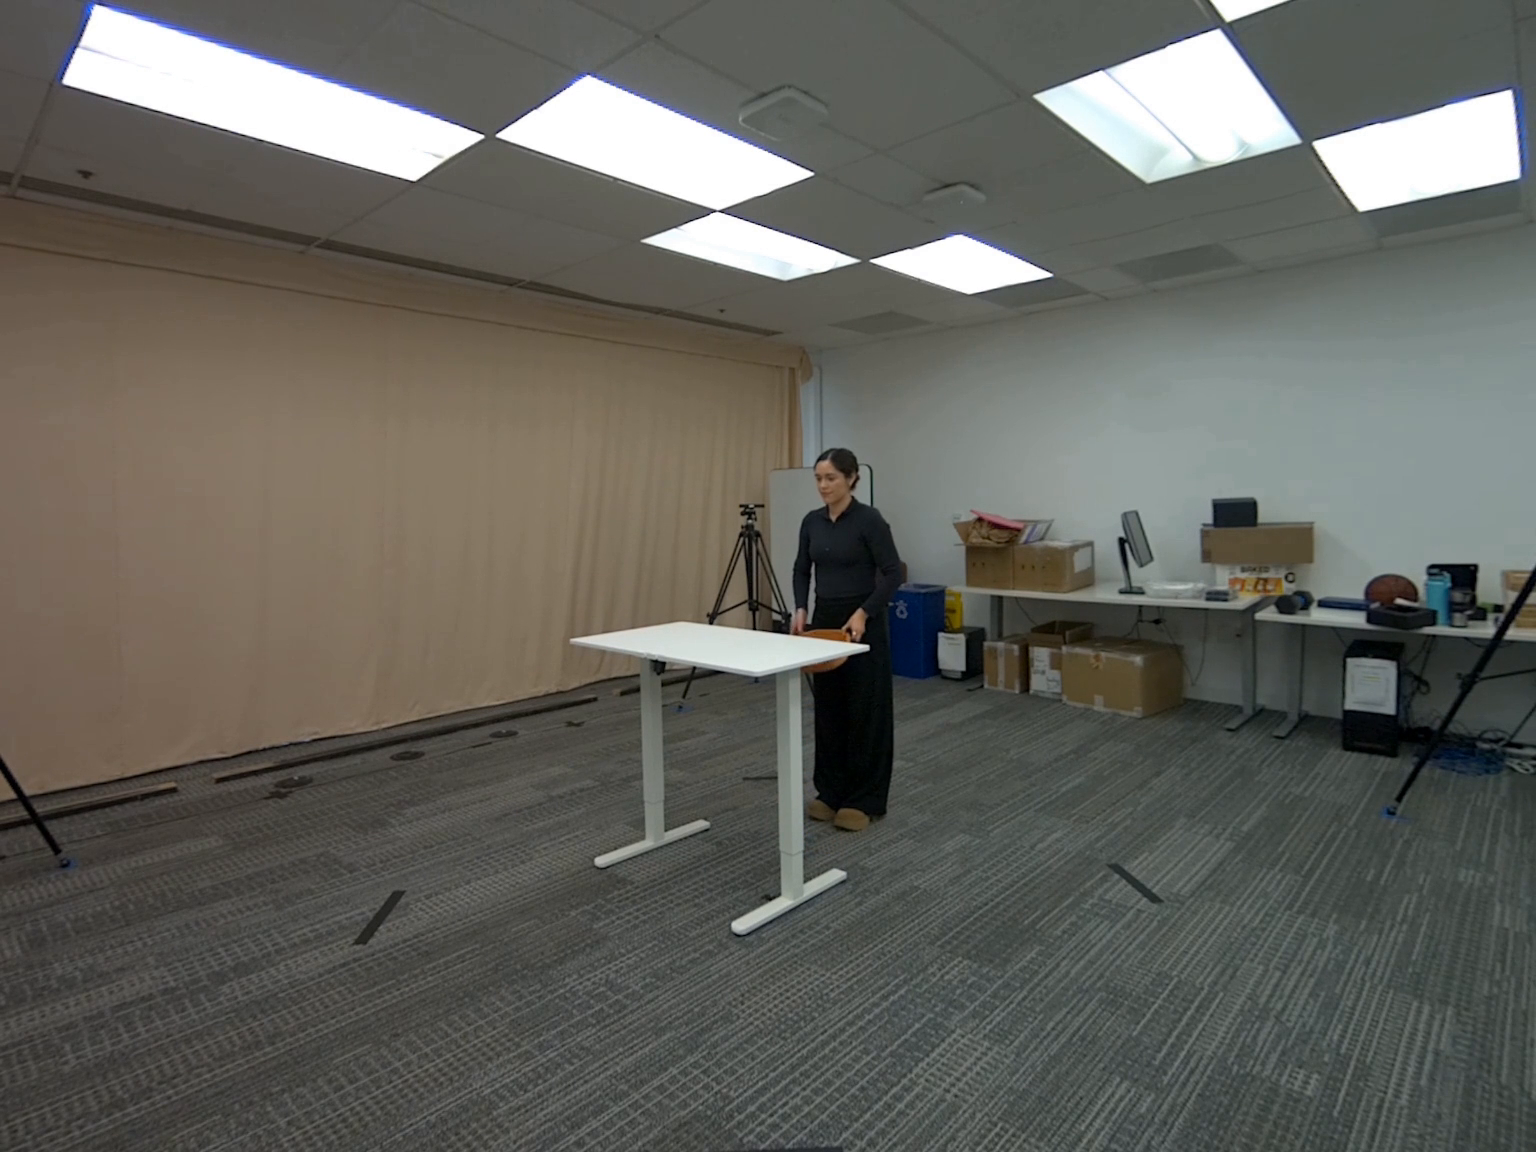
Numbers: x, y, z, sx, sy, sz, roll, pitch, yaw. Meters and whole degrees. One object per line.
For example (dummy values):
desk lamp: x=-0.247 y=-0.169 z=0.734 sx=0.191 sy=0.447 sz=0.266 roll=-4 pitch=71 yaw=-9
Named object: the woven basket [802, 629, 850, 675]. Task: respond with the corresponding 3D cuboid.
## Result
woven basket: x=0.202 y=0.334 z=3.570 sx=0.360 sy=0.072 sz=0.251 roll=-11 pitch=27 yaw=37
